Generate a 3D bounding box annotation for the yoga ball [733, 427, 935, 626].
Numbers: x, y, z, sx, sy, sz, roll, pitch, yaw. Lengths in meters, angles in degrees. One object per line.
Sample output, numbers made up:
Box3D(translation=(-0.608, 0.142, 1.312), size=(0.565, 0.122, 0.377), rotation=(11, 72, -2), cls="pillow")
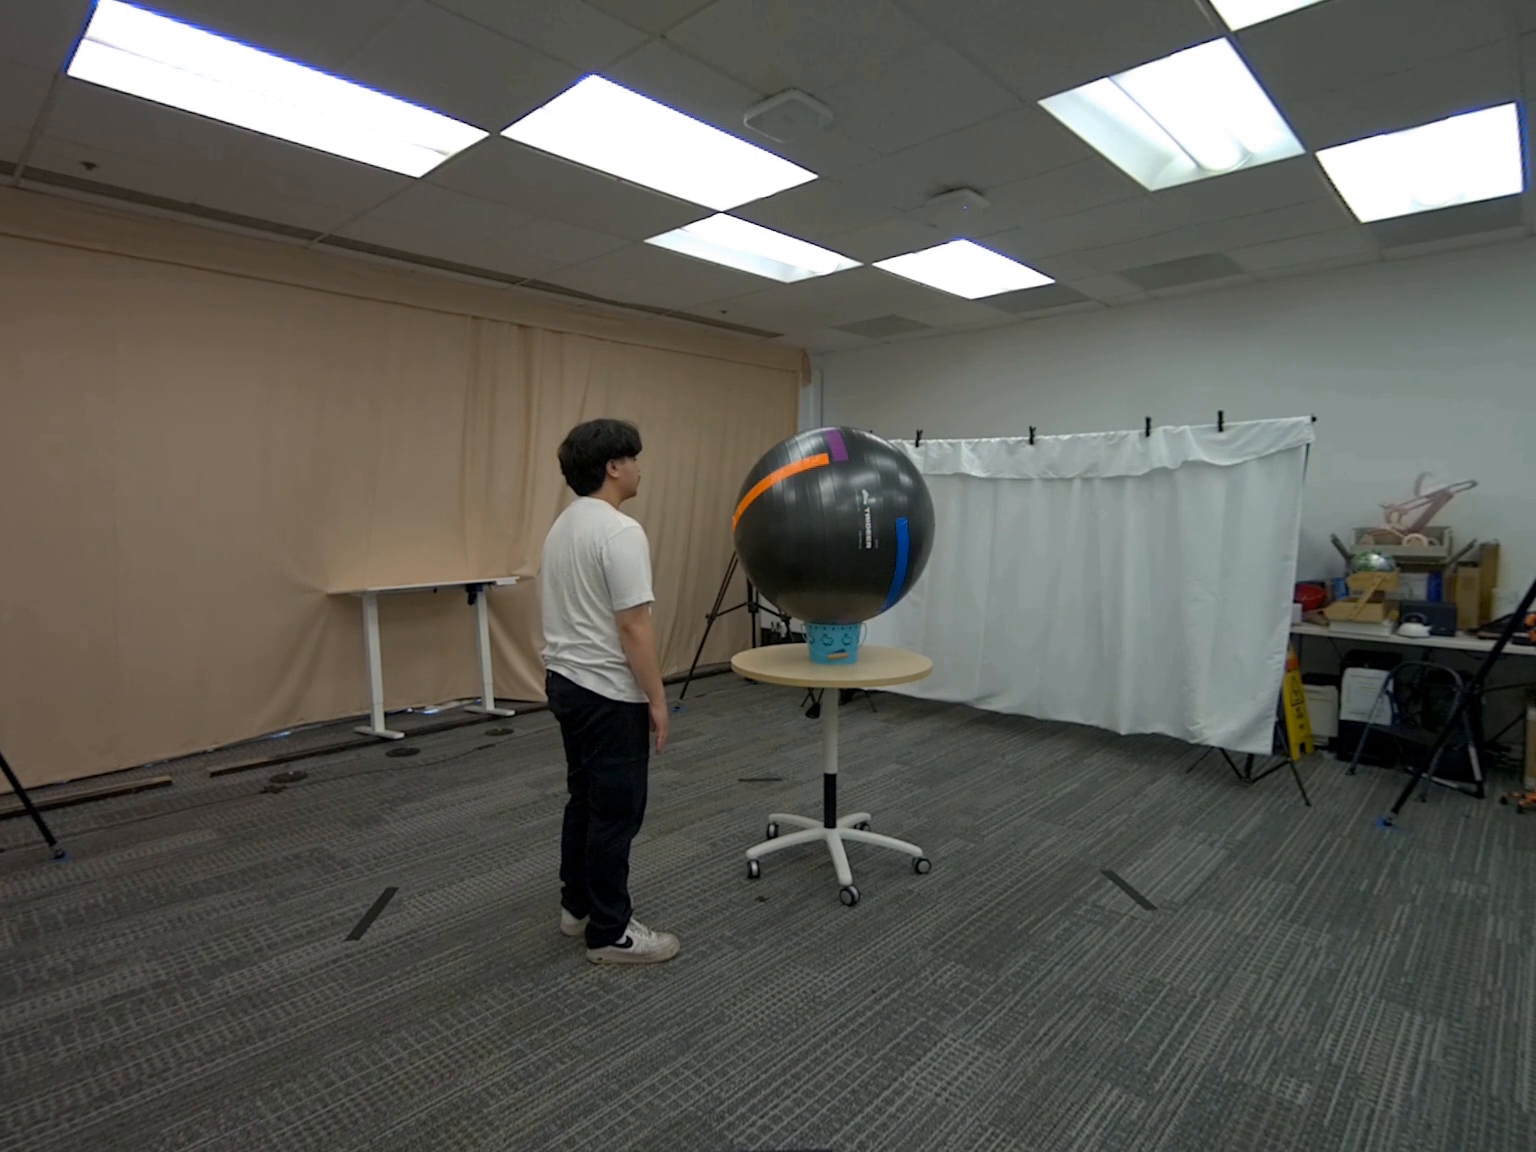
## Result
Box3D(translation=(0.247, -0.185, 3.224), size=(0.757, 0.756, 0.761), rotation=(0, 4, -2), cls="yoga ball")
